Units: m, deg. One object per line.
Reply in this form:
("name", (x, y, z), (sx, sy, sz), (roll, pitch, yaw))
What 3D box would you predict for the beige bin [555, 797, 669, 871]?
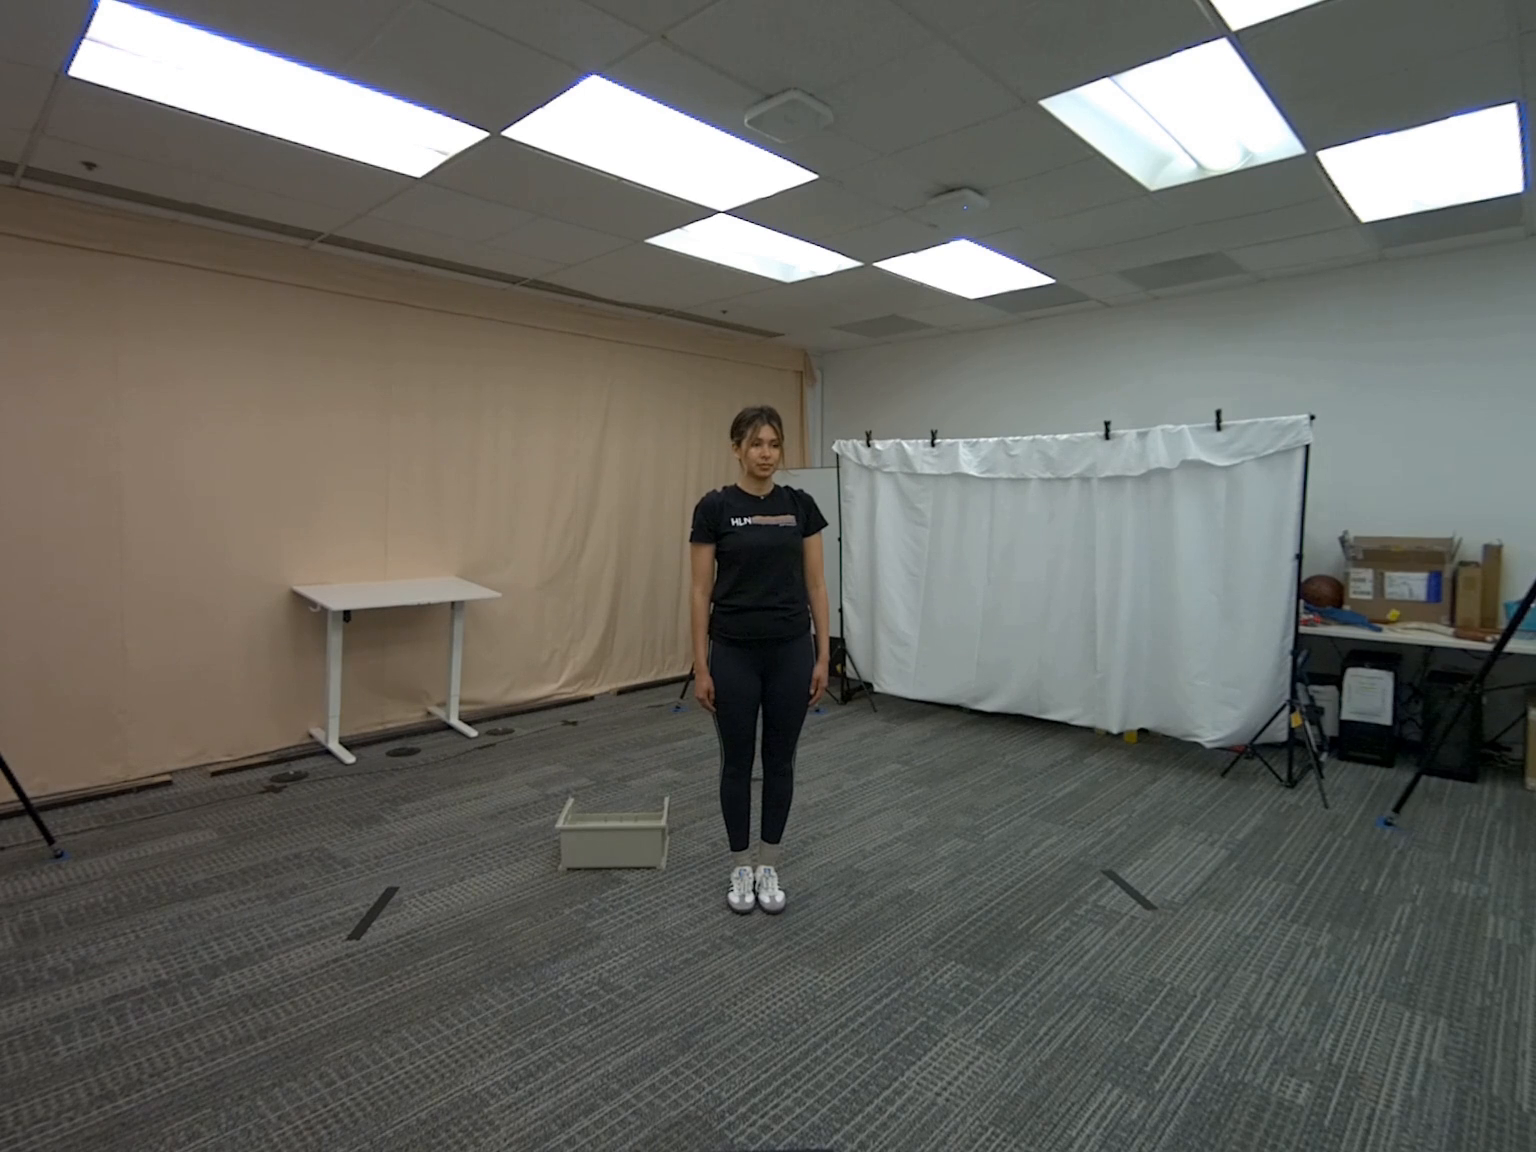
("beige bin", (-0.616, 1.026, 3.400), (0.422, 0.188, 0.379), (0, 5, -2))
